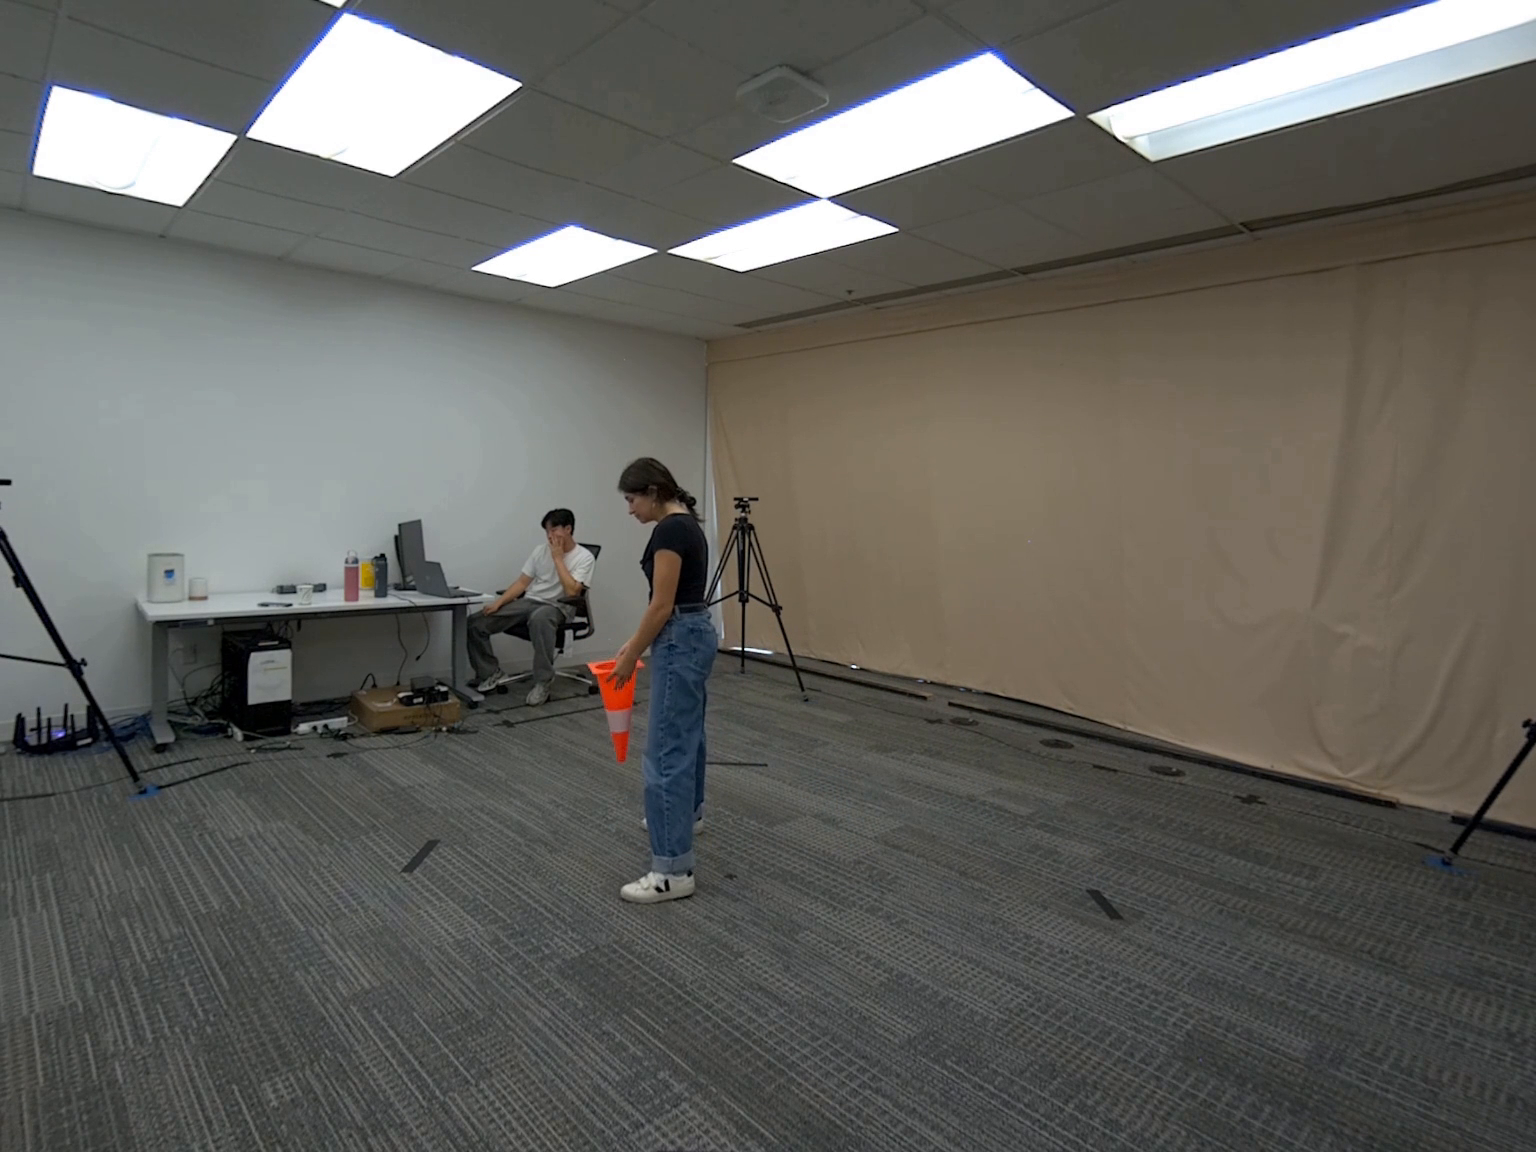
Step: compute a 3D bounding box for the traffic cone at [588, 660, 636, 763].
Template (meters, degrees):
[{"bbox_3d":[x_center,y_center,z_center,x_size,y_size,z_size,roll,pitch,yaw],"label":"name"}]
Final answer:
[{"bbox_3d":[-0.582,0.532,3.244,0.201,0.383,0.207,-5,2,-27],"label":"traffic cone"}]
